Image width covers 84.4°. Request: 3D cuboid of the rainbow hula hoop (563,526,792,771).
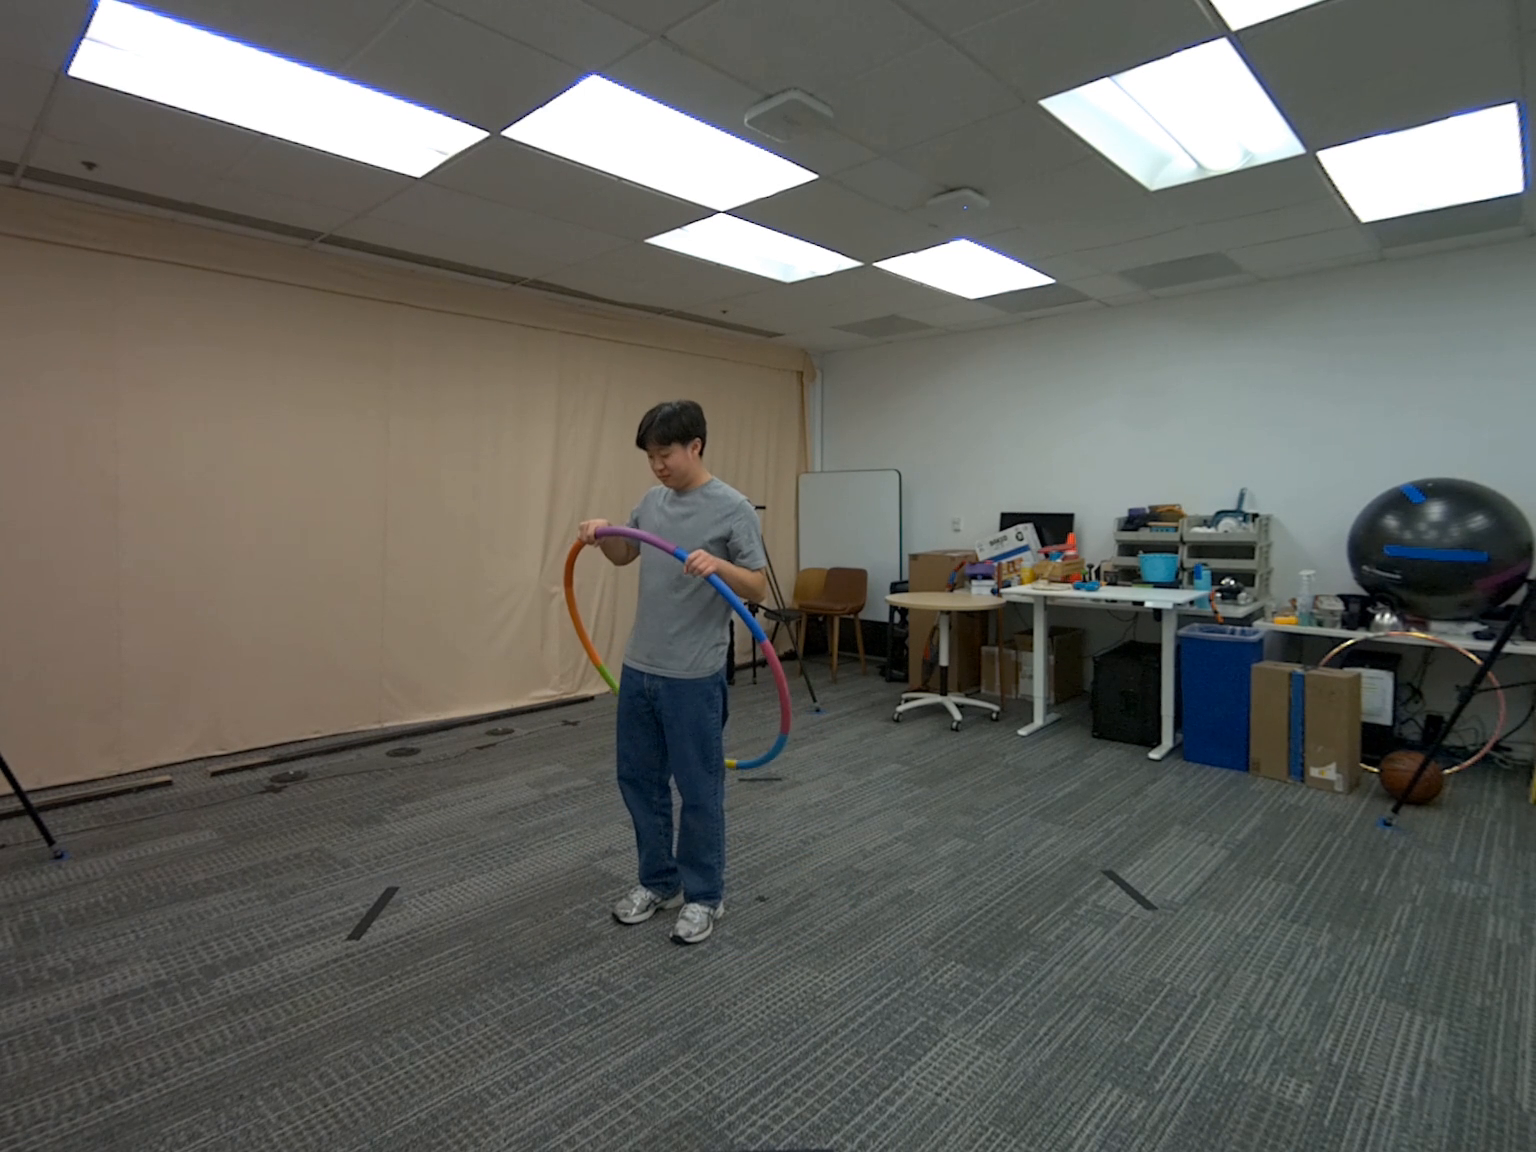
[{"bbox_3d":[-0.334,0.264,2.851,1.011,0.958,0.035,4,33,42],"label":"rainbow hula hoop"}]
